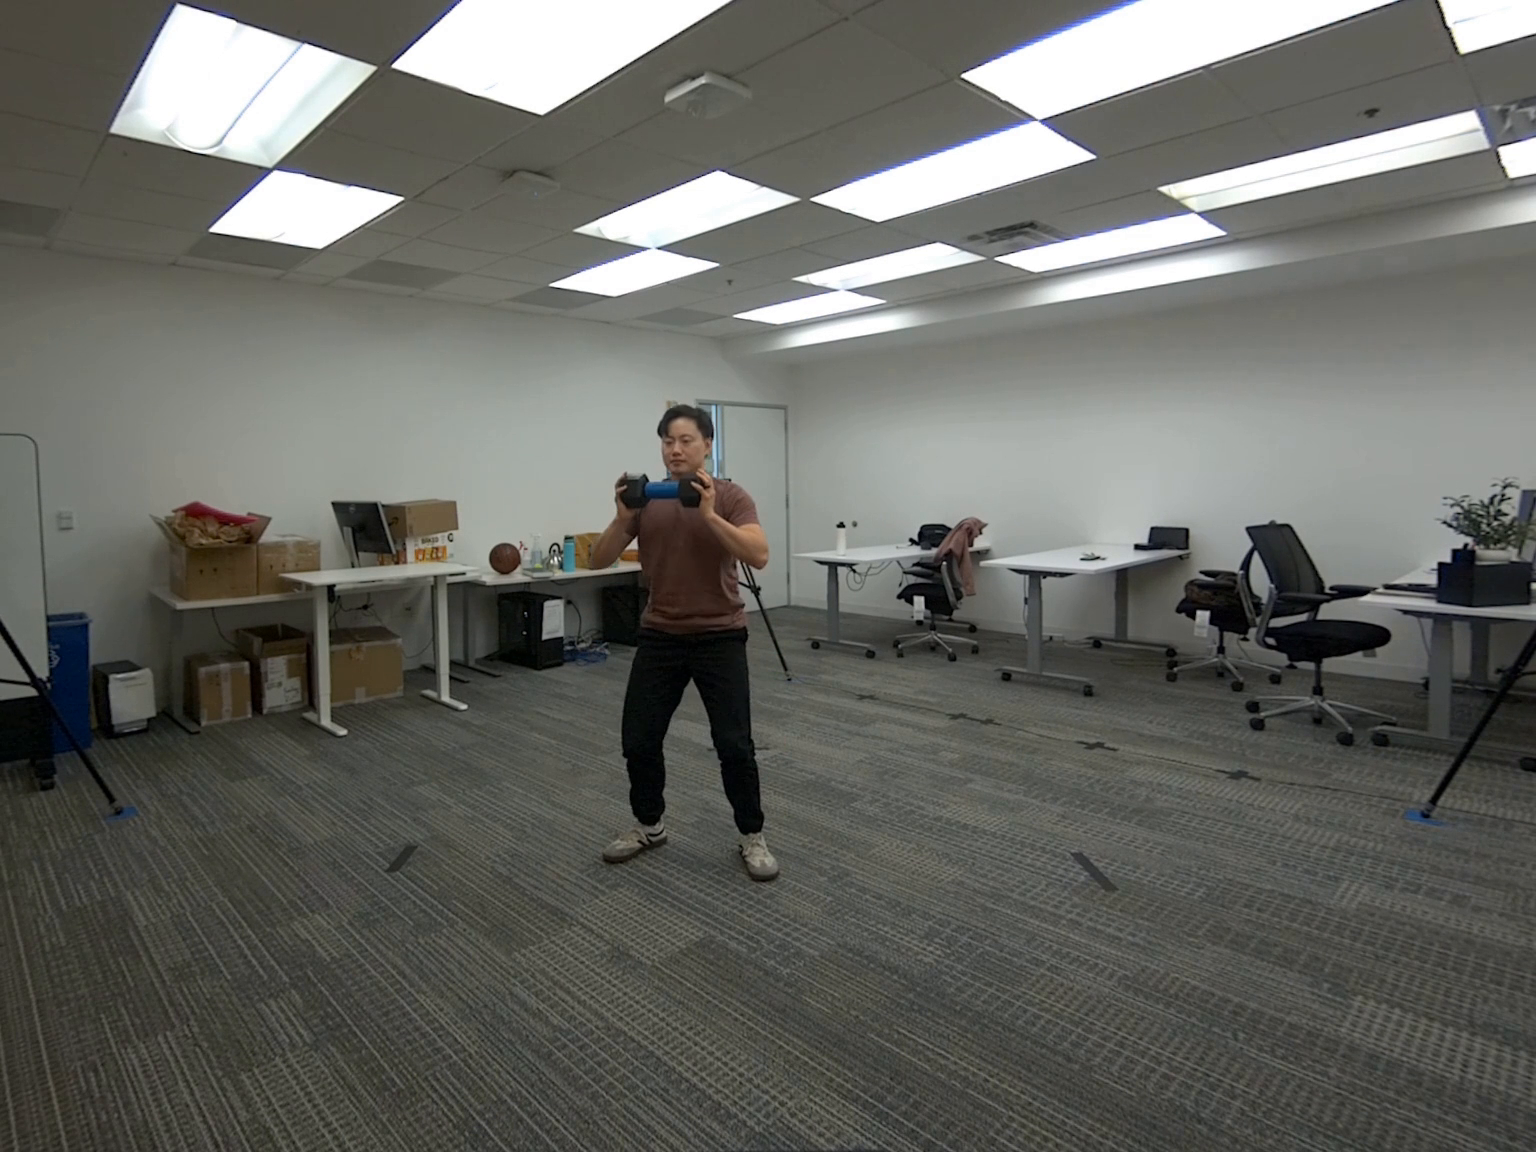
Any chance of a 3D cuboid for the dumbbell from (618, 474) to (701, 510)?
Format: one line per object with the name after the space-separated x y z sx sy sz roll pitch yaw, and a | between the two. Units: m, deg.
-0.366 -0.272 2.918 0.298 0.111 0.119 2 -35 14 | dumbbell
